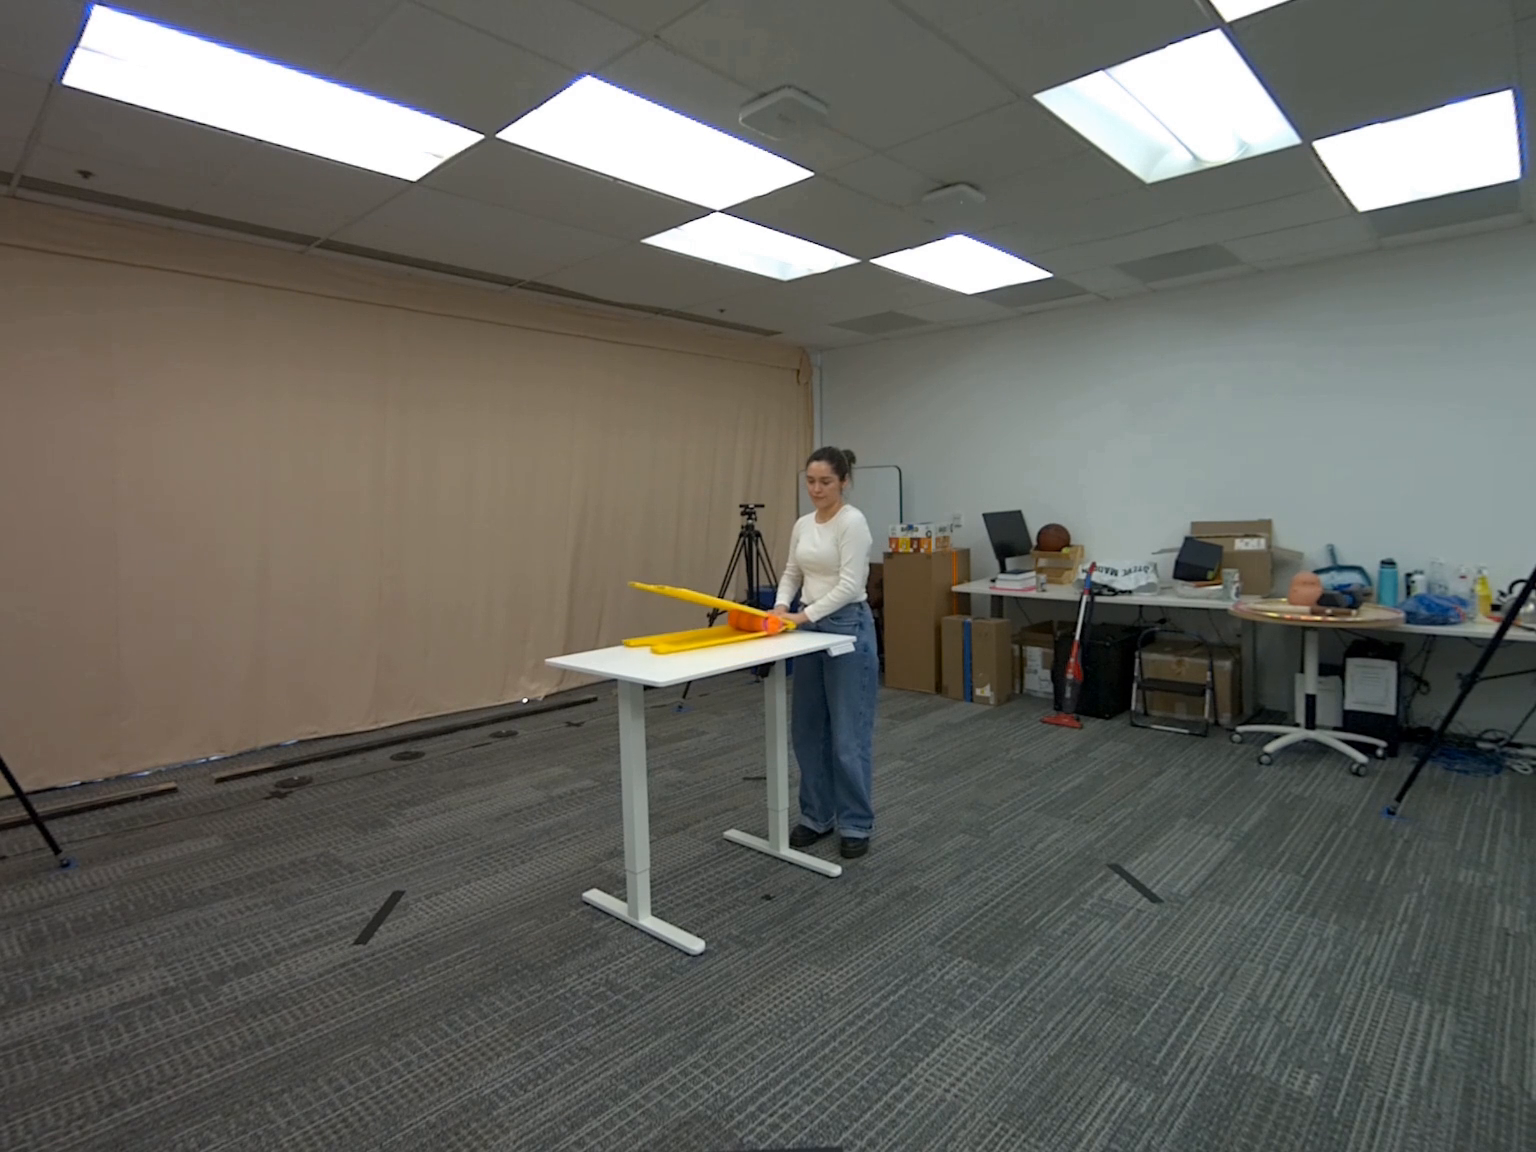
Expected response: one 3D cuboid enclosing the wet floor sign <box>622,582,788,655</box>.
[{"bbox_3d":[-0.188,0.178,3.199,0.626,0.290,0.291,5,0,-36],"label":"wet floor sign"}]
